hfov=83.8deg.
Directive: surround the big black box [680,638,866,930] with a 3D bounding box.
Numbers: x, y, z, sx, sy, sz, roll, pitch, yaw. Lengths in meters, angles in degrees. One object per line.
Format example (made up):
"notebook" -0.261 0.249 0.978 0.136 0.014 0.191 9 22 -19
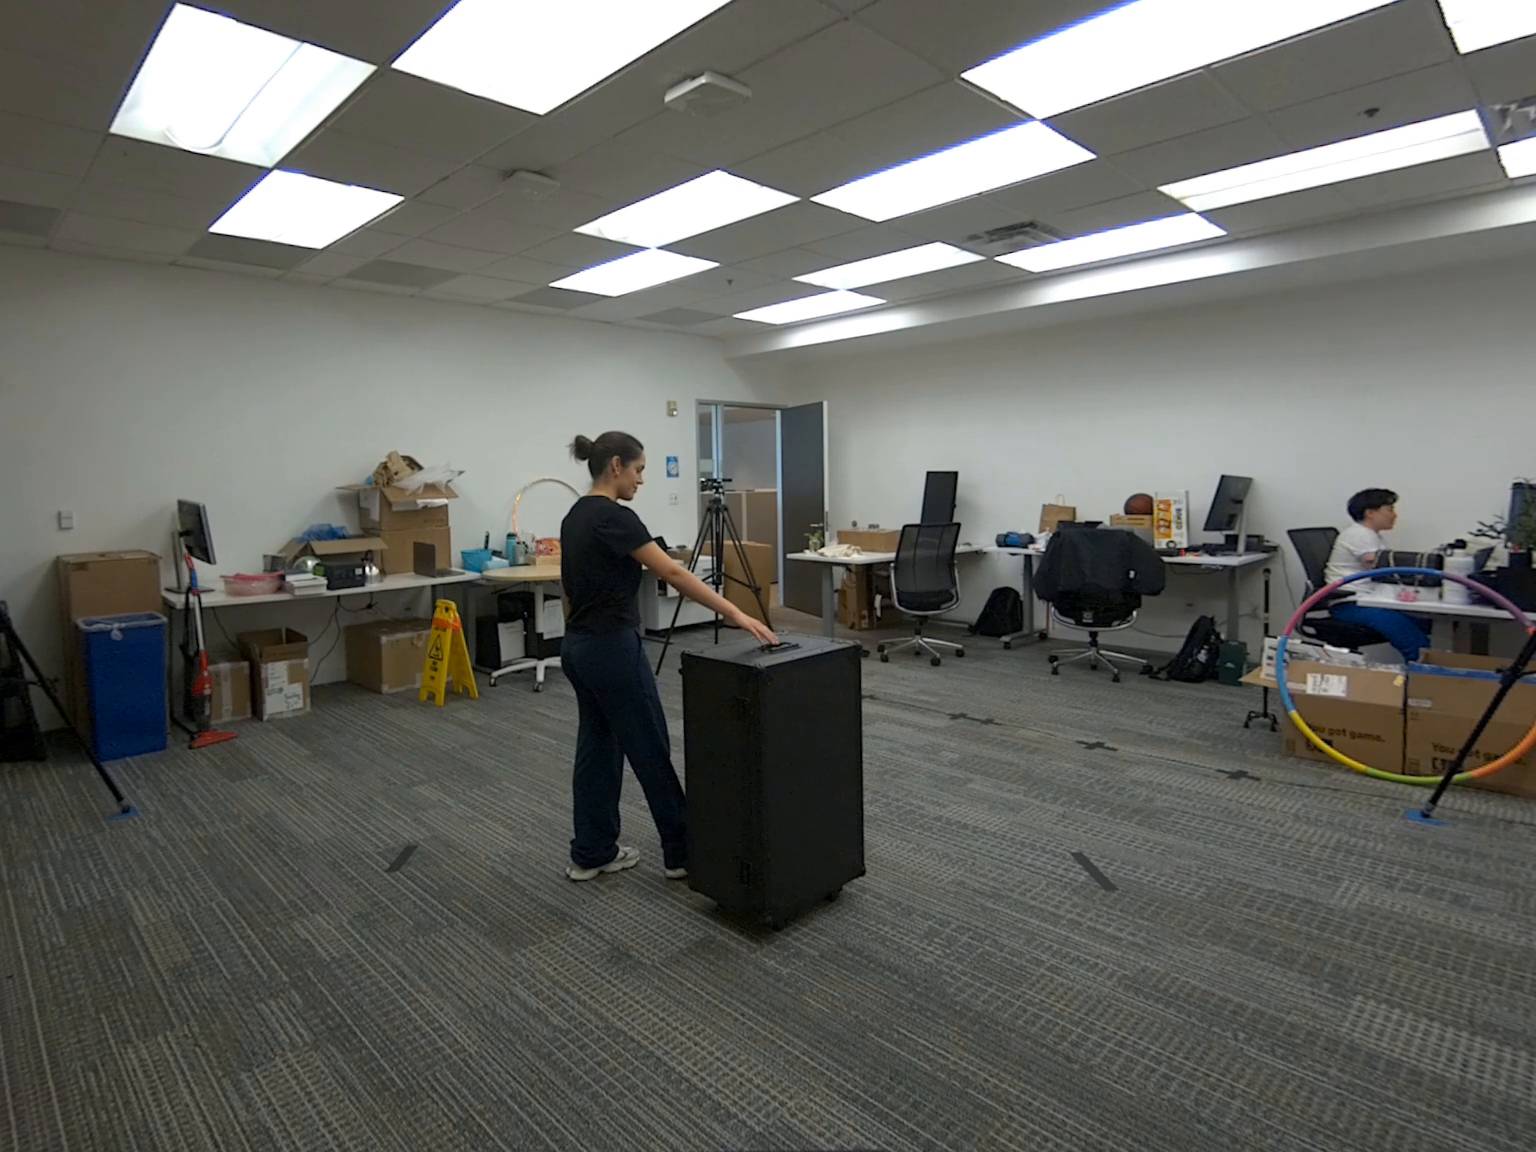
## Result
"big black box" 0.012 0.654 2.809 0.408 0.859 0.507 1 4 45
